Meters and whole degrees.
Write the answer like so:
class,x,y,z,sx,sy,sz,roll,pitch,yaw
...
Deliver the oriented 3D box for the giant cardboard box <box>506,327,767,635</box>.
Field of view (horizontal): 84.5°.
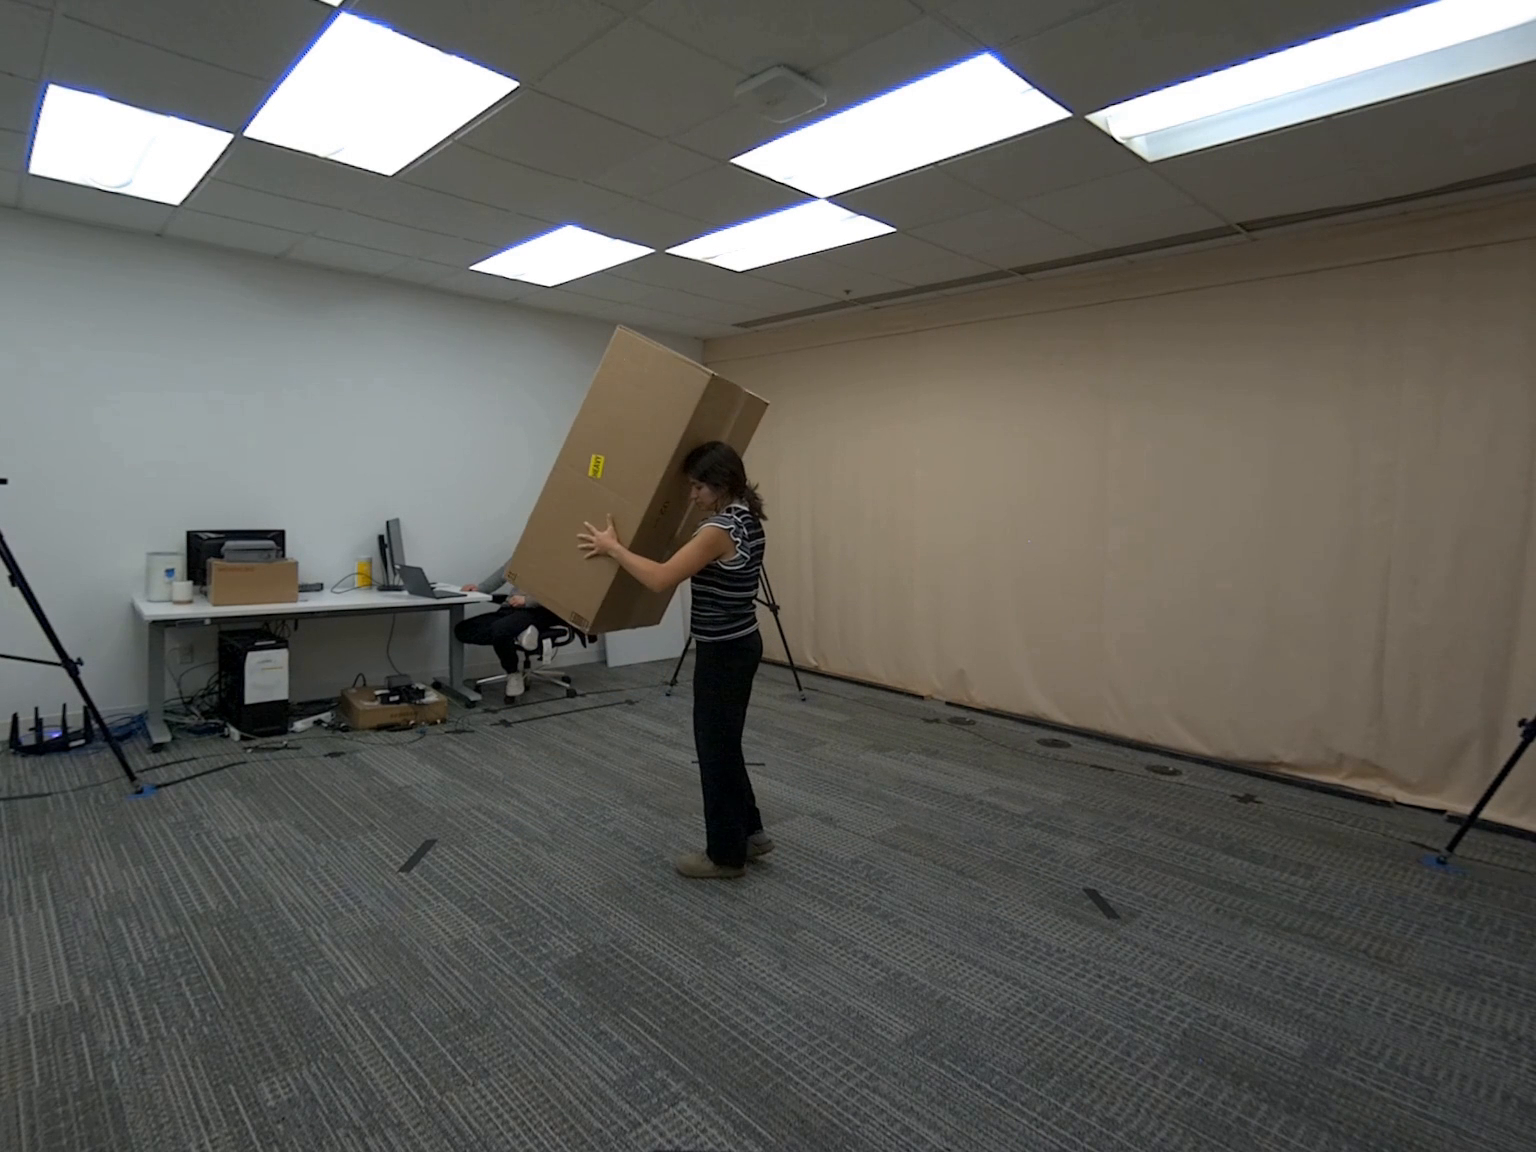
class,x,y,z,sx,sy,sz,roll,pitch,yaw
giant cardboard box,-0.498,-0.336,3.228,0.434,1.023,0.568,30,10,18
